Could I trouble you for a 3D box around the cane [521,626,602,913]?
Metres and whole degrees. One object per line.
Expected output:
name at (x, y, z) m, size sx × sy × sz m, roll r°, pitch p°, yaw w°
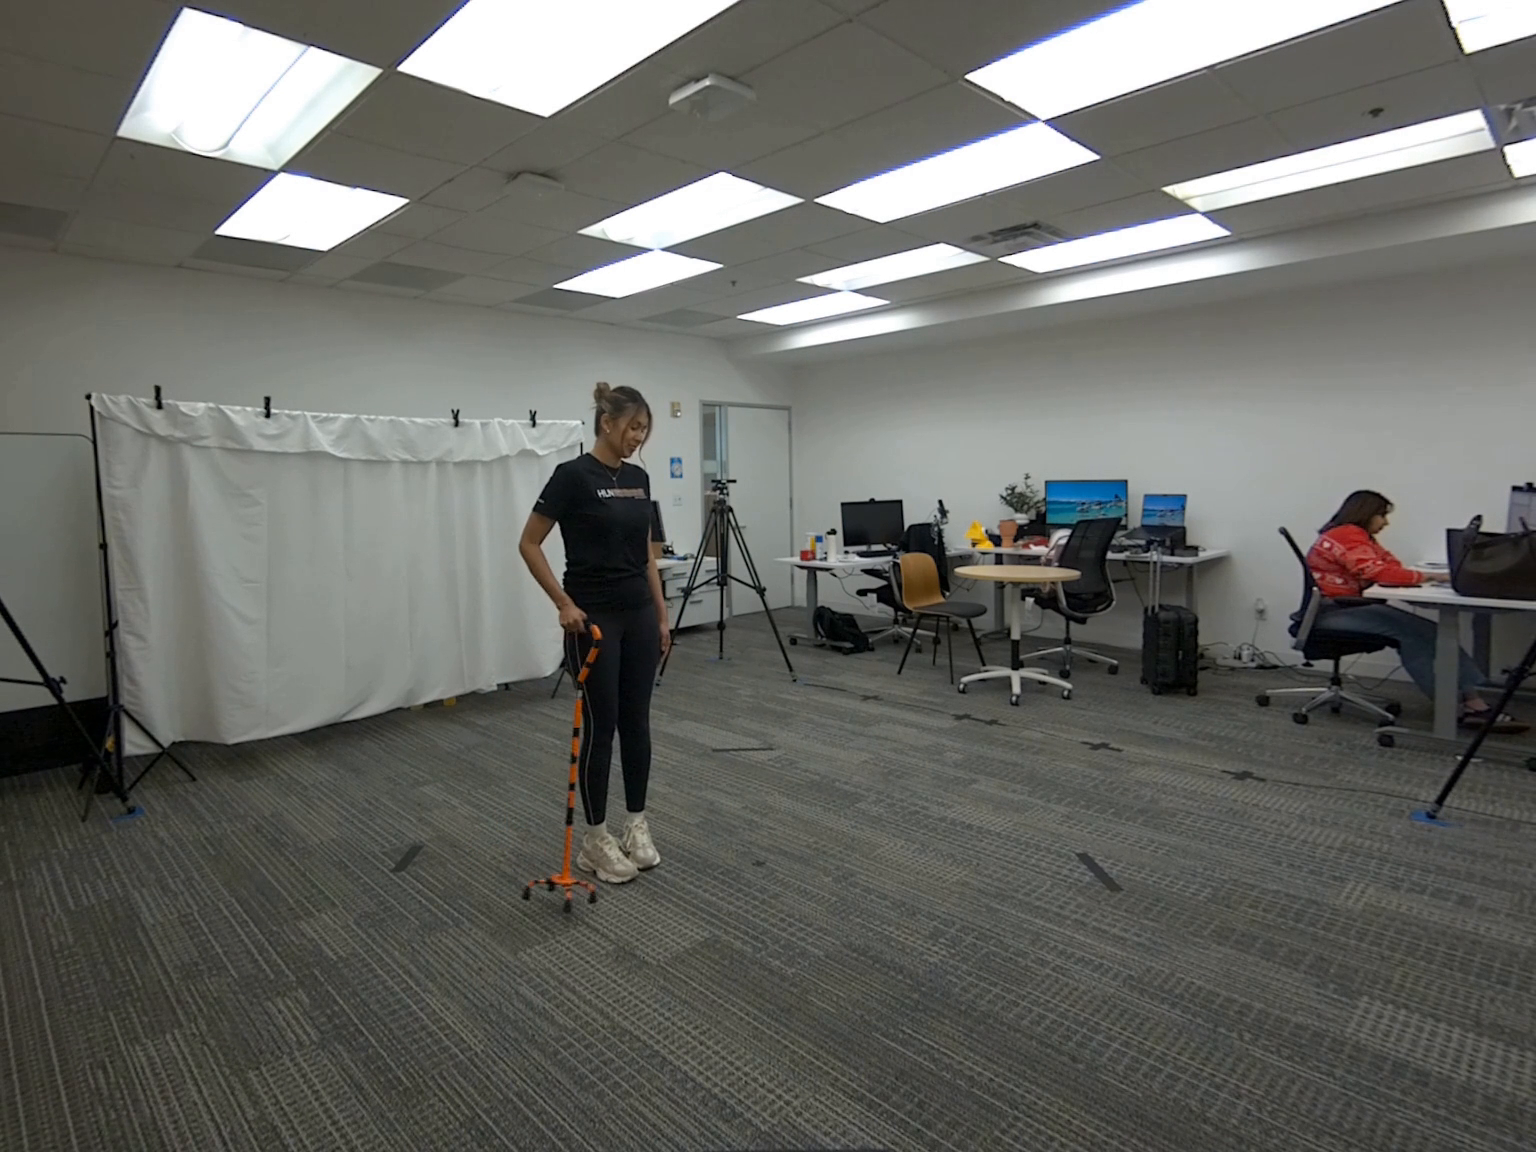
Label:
cane at (-0.643, 0.605, 2.825) m, size 0.212 × 0.911 × 0.147 m, roll 1°, pitch -5°, yaw 29°
